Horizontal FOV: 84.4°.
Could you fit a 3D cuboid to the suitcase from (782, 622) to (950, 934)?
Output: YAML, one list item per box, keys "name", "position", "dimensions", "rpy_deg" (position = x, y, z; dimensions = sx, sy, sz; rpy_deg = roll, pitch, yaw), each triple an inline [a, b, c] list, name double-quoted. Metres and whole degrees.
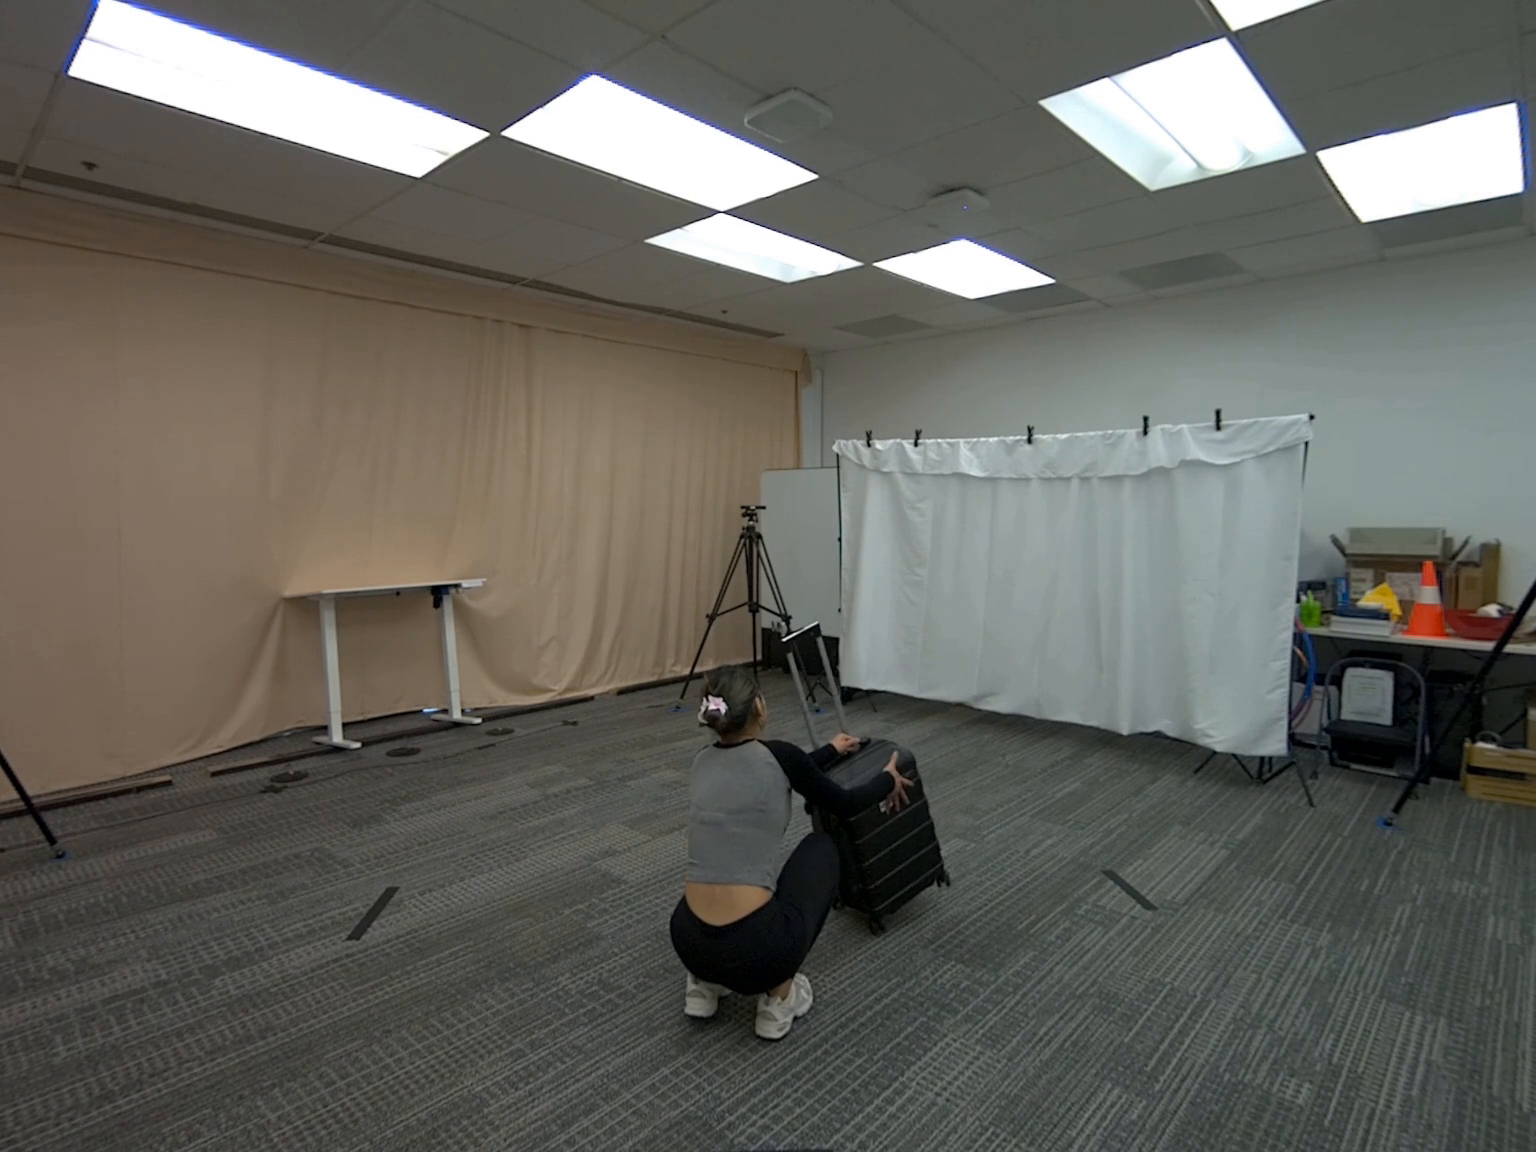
- name: "suitcase"
  position: [0.308, 0.654, 2.790]
  dimensions: [0.377, 0.967, 0.265]
  rpy_deg: [-20, 16, -26]
